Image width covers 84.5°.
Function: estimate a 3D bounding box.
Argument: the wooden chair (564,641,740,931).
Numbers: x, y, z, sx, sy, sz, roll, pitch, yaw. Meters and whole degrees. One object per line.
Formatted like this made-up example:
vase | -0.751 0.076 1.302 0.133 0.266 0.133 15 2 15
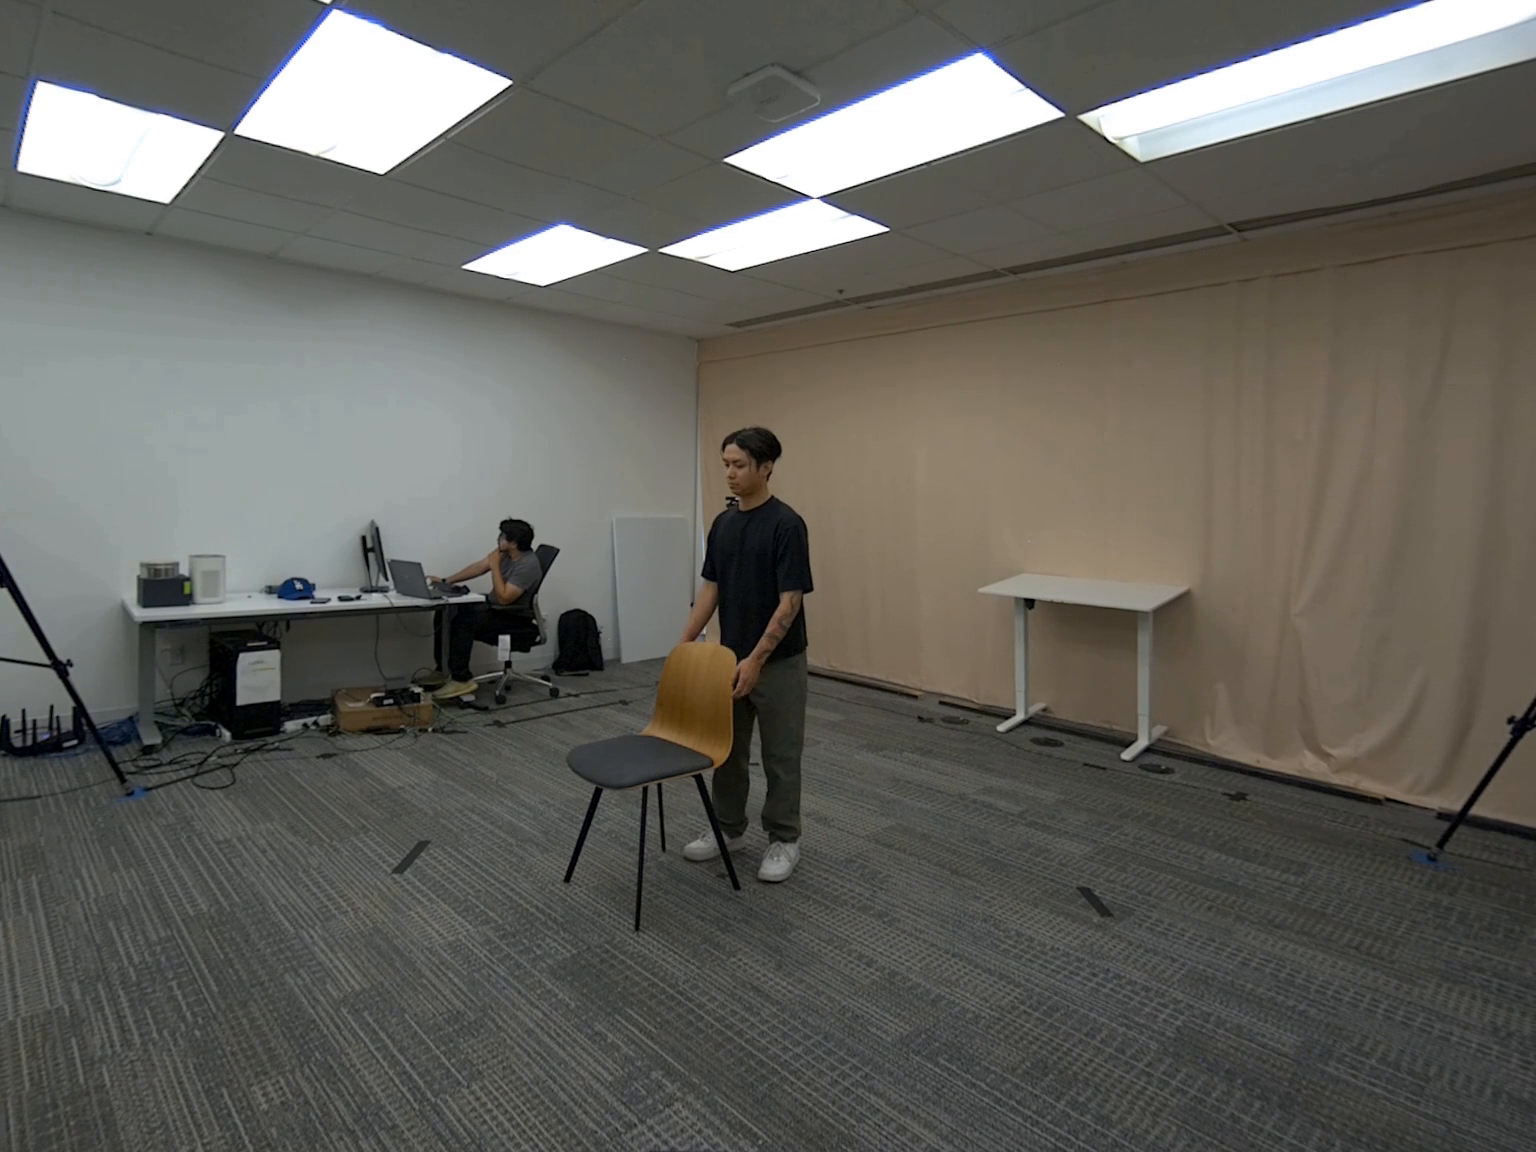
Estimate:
wooden chair | -0.414 0.685 2.963 0.510 0.877 0.490 4 1 -43
